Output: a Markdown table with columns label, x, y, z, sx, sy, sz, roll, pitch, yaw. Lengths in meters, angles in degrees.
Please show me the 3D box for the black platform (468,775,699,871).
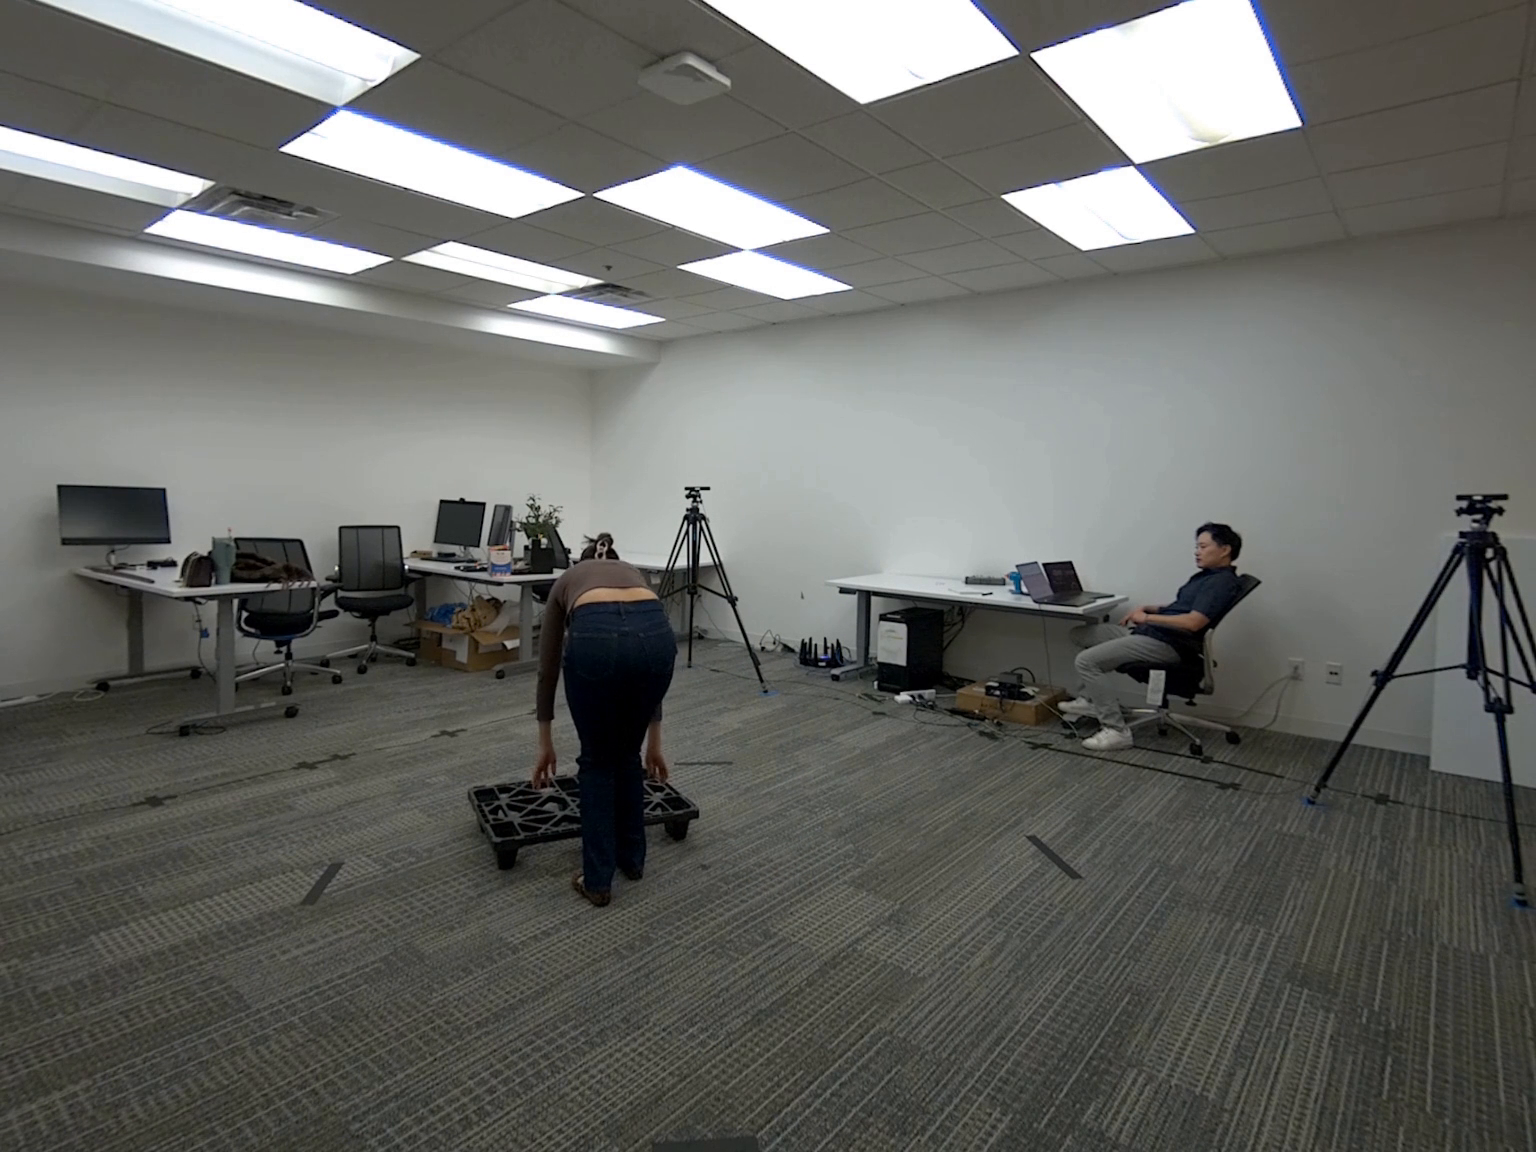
| label | x | y | z | sx | sy | sz | roll | pitch | yaw |
| --- | --- | --- | --- | --- | --- | --- | --- | --- | --- |
| black platform | -0.772 | 0.960 | 3.430 | 0.786 | 0.143 | 0.622 | -2 | 5 | -26 |
